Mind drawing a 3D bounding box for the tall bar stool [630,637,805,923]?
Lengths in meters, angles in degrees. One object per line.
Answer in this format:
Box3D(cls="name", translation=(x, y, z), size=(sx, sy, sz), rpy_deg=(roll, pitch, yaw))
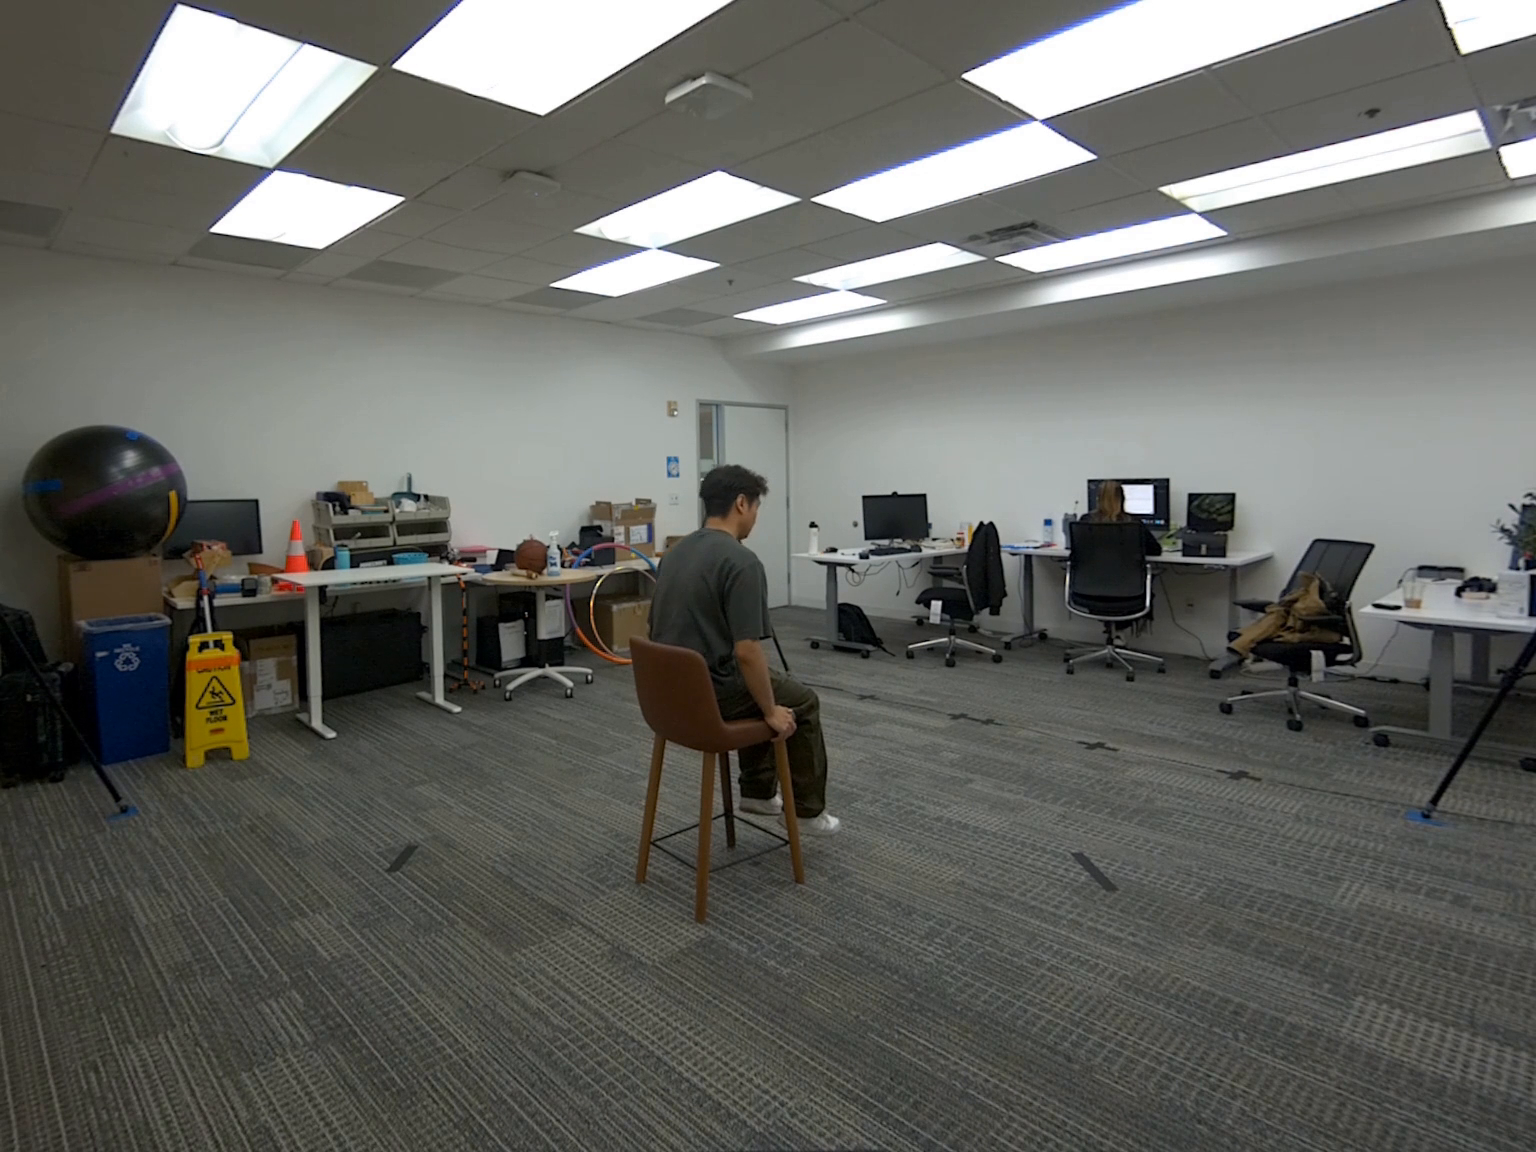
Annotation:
Box3D(cls="tall bar stool", translation=(-0.188, 0.631, 2.933), size=(0.456, 0.885, 0.470), rpy_deg=(-8, 8, -40))
